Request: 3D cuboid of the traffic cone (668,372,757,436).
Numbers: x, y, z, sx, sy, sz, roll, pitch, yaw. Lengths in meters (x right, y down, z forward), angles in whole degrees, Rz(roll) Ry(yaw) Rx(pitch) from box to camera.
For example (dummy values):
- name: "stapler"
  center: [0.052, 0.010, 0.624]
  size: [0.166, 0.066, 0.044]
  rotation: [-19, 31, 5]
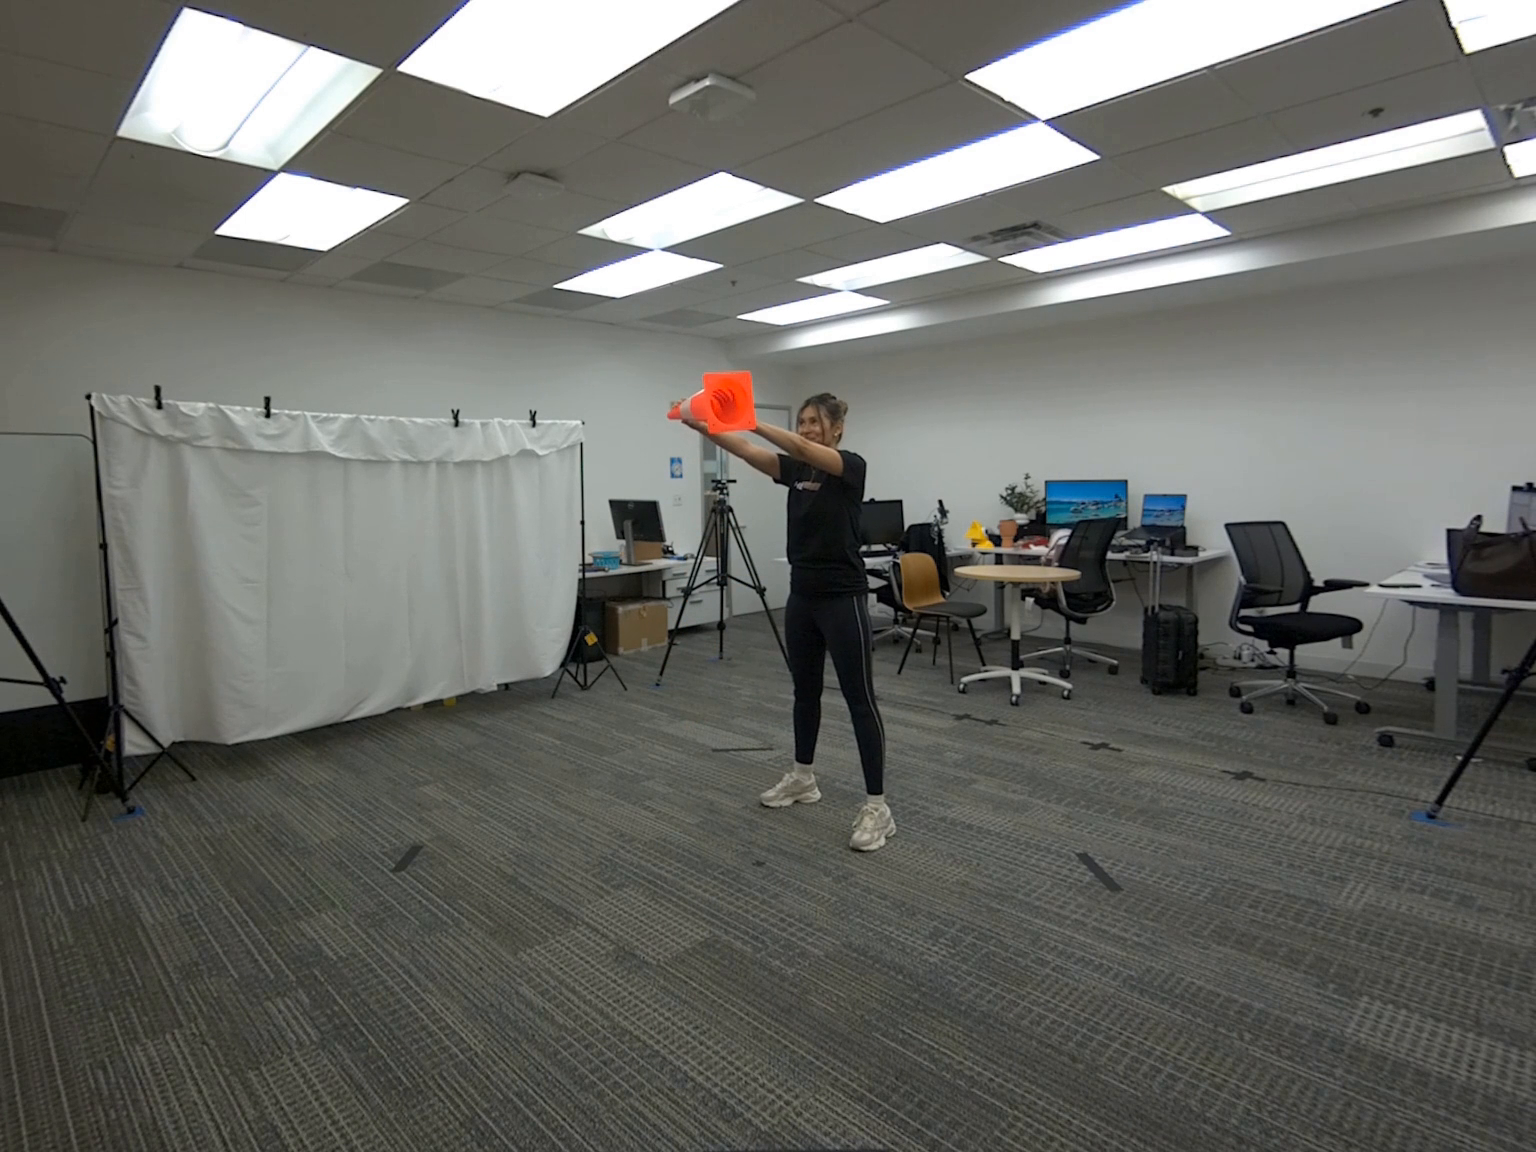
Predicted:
- name: "traffic cone"
  center: [-0.237, -0.590, 3.034]
  size: [0.199, 0.204, 0.394]
  rotation: [-11, 7, -36]
